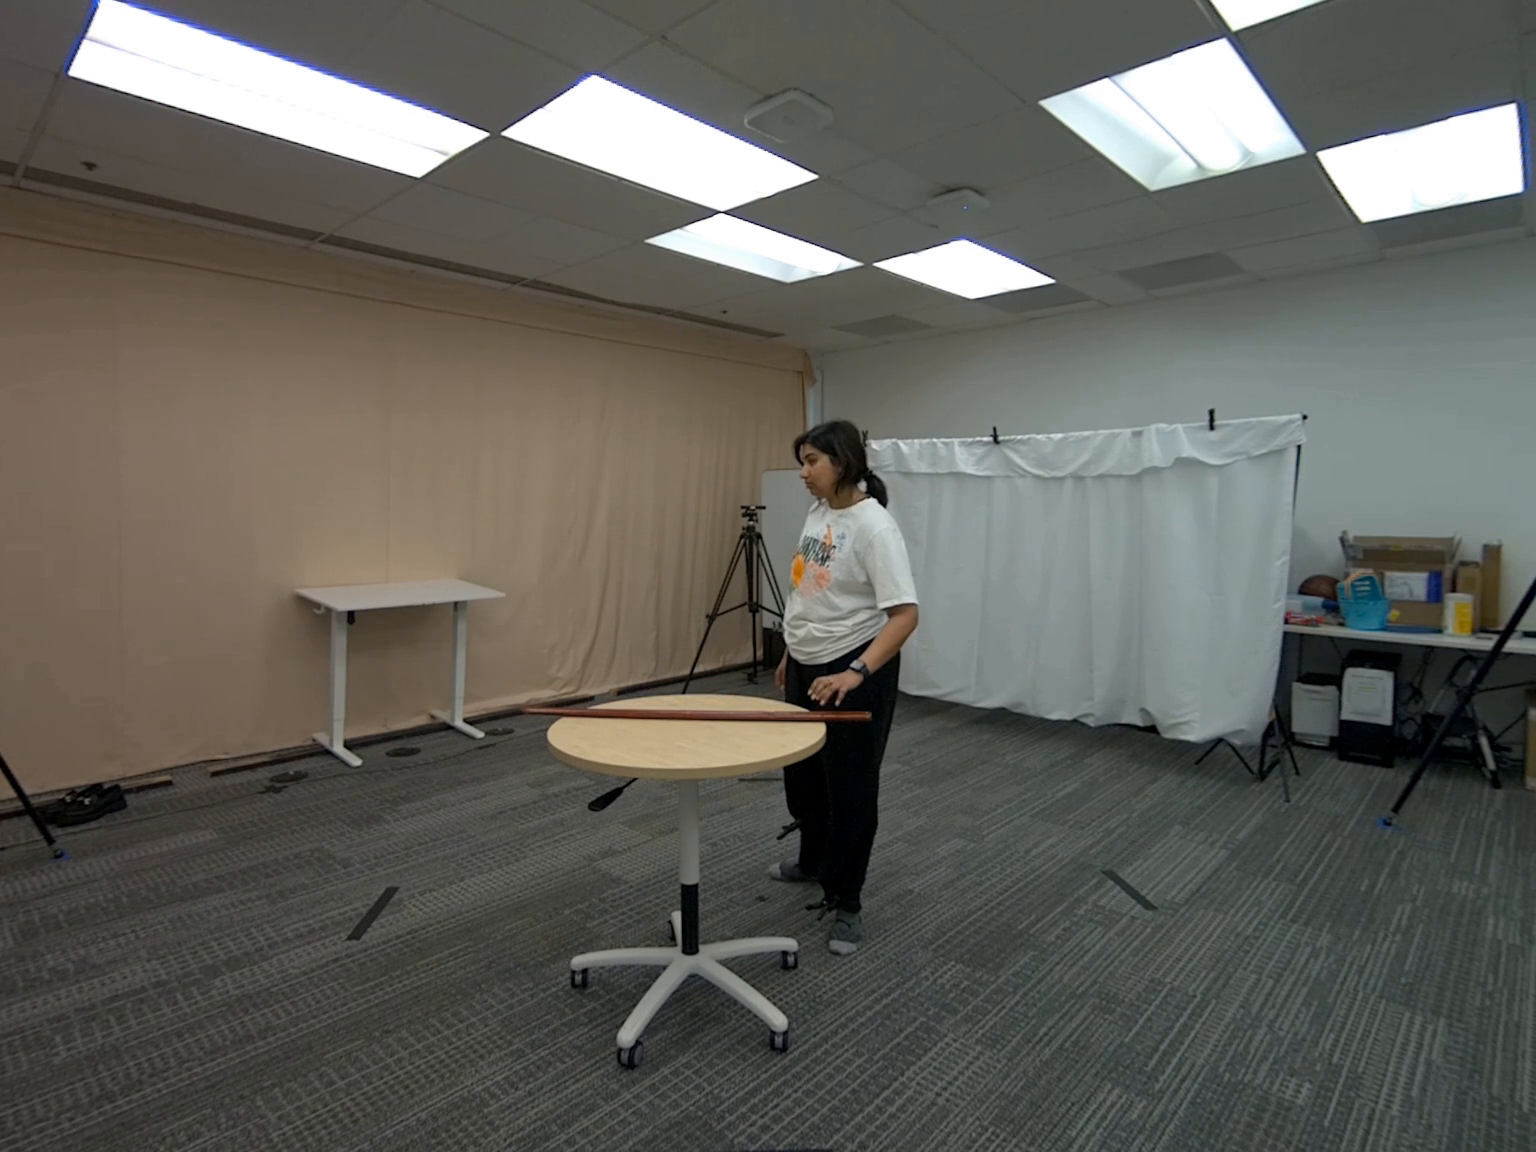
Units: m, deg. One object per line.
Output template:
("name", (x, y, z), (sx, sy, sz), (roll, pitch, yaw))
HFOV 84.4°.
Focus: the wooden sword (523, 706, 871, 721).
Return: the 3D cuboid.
("wooden sword", (-0.212, 0.366, 2.455), (1.036, 0.024, 0.050), (0, -18, 10))
